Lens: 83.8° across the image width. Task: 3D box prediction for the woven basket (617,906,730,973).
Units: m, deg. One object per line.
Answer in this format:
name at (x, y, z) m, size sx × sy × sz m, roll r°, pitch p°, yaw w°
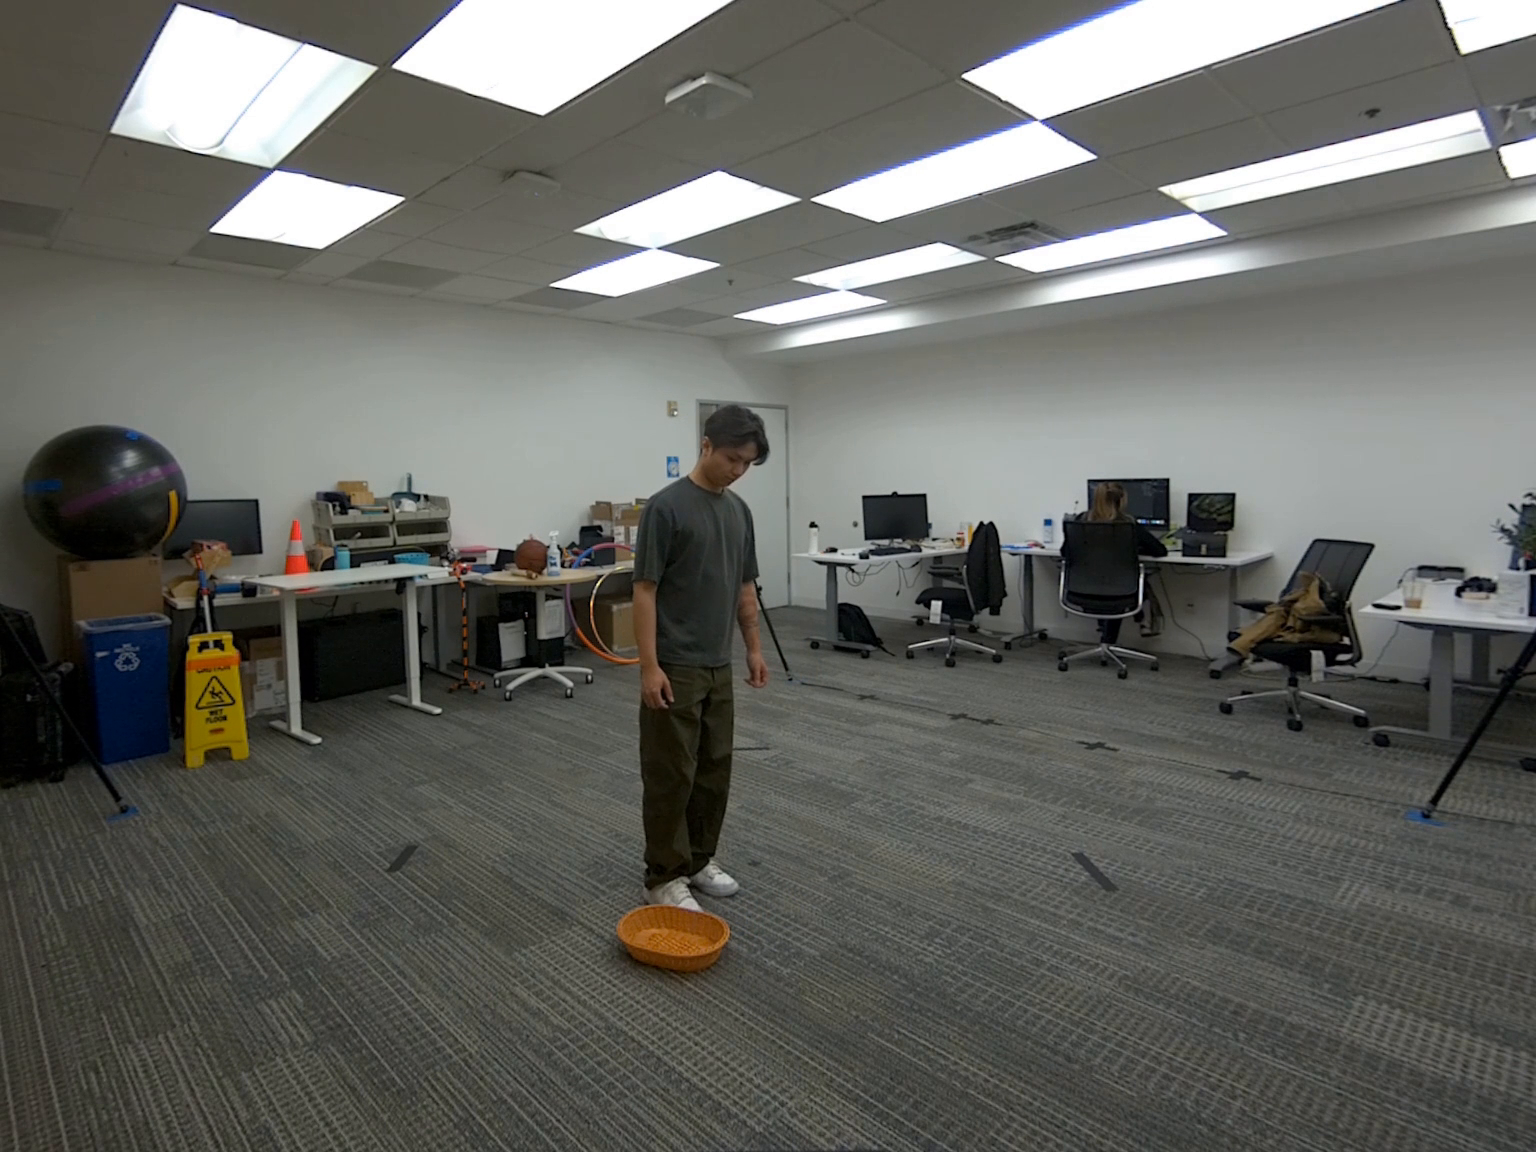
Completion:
woven basket at (-0.278, 1.082, 2.536) m, size 0.359 × 0.073 × 0.247 m, roll 2°, pitch 8°, yaw 27°
